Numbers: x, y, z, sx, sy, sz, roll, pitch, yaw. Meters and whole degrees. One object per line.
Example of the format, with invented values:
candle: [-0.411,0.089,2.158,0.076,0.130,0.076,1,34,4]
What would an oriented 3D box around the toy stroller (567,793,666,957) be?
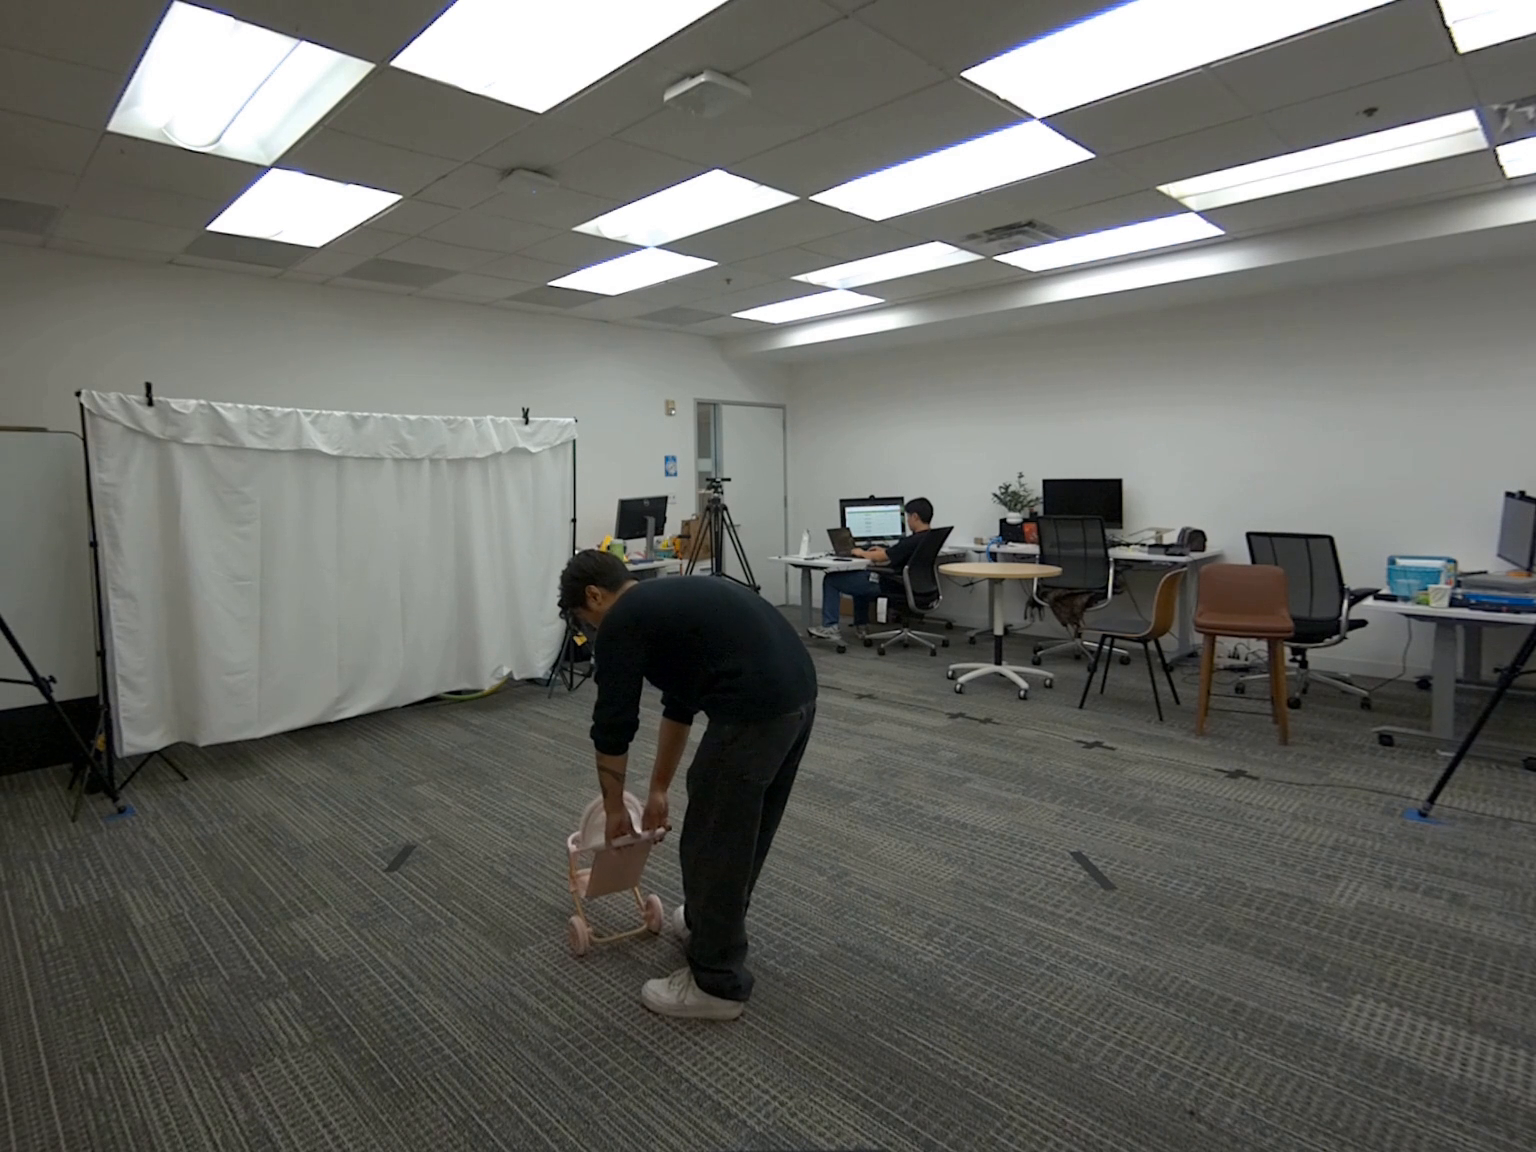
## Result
toy stroller: [-0.479,0.880,2.623,0.275,0.526,0.354,-2,27,-25]
